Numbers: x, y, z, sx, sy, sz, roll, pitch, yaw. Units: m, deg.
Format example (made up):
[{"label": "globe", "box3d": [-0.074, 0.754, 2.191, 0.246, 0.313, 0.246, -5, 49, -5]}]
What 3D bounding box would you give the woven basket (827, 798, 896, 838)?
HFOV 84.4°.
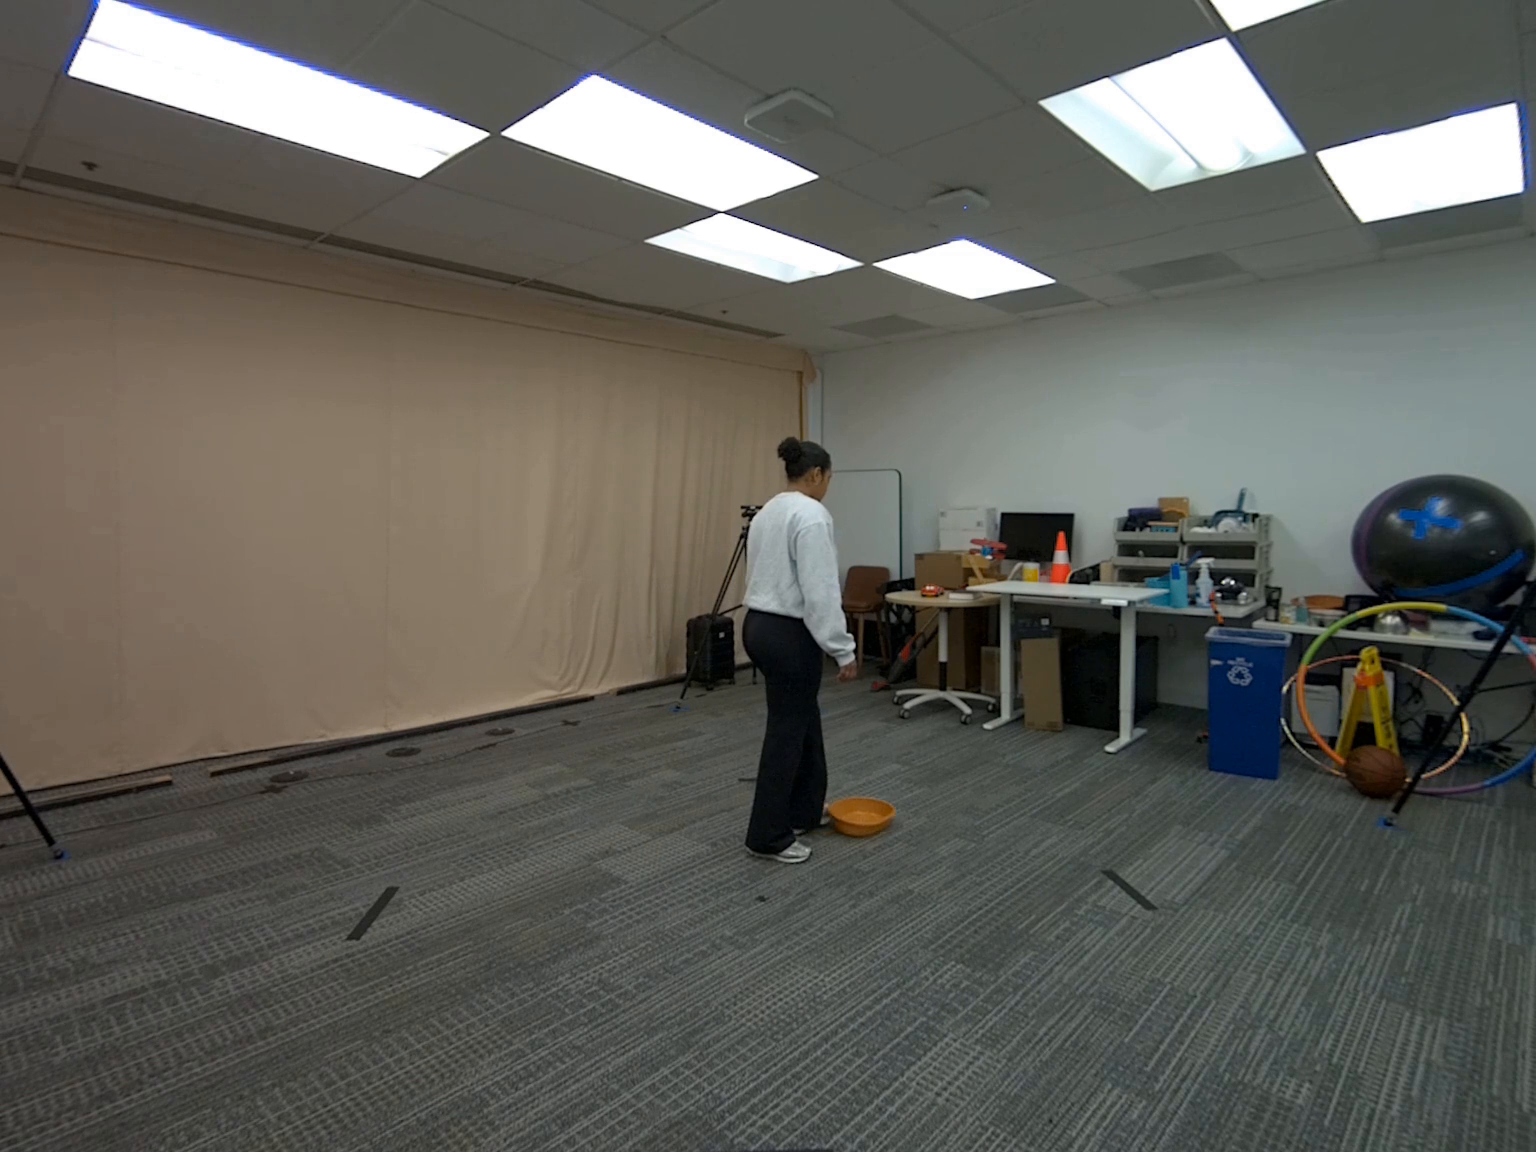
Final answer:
[{"label": "woven basket", "box3d": [0.399, 1.045, 3.642, 0.261, 0.073, 0.340, 9, 9, 39]}]
